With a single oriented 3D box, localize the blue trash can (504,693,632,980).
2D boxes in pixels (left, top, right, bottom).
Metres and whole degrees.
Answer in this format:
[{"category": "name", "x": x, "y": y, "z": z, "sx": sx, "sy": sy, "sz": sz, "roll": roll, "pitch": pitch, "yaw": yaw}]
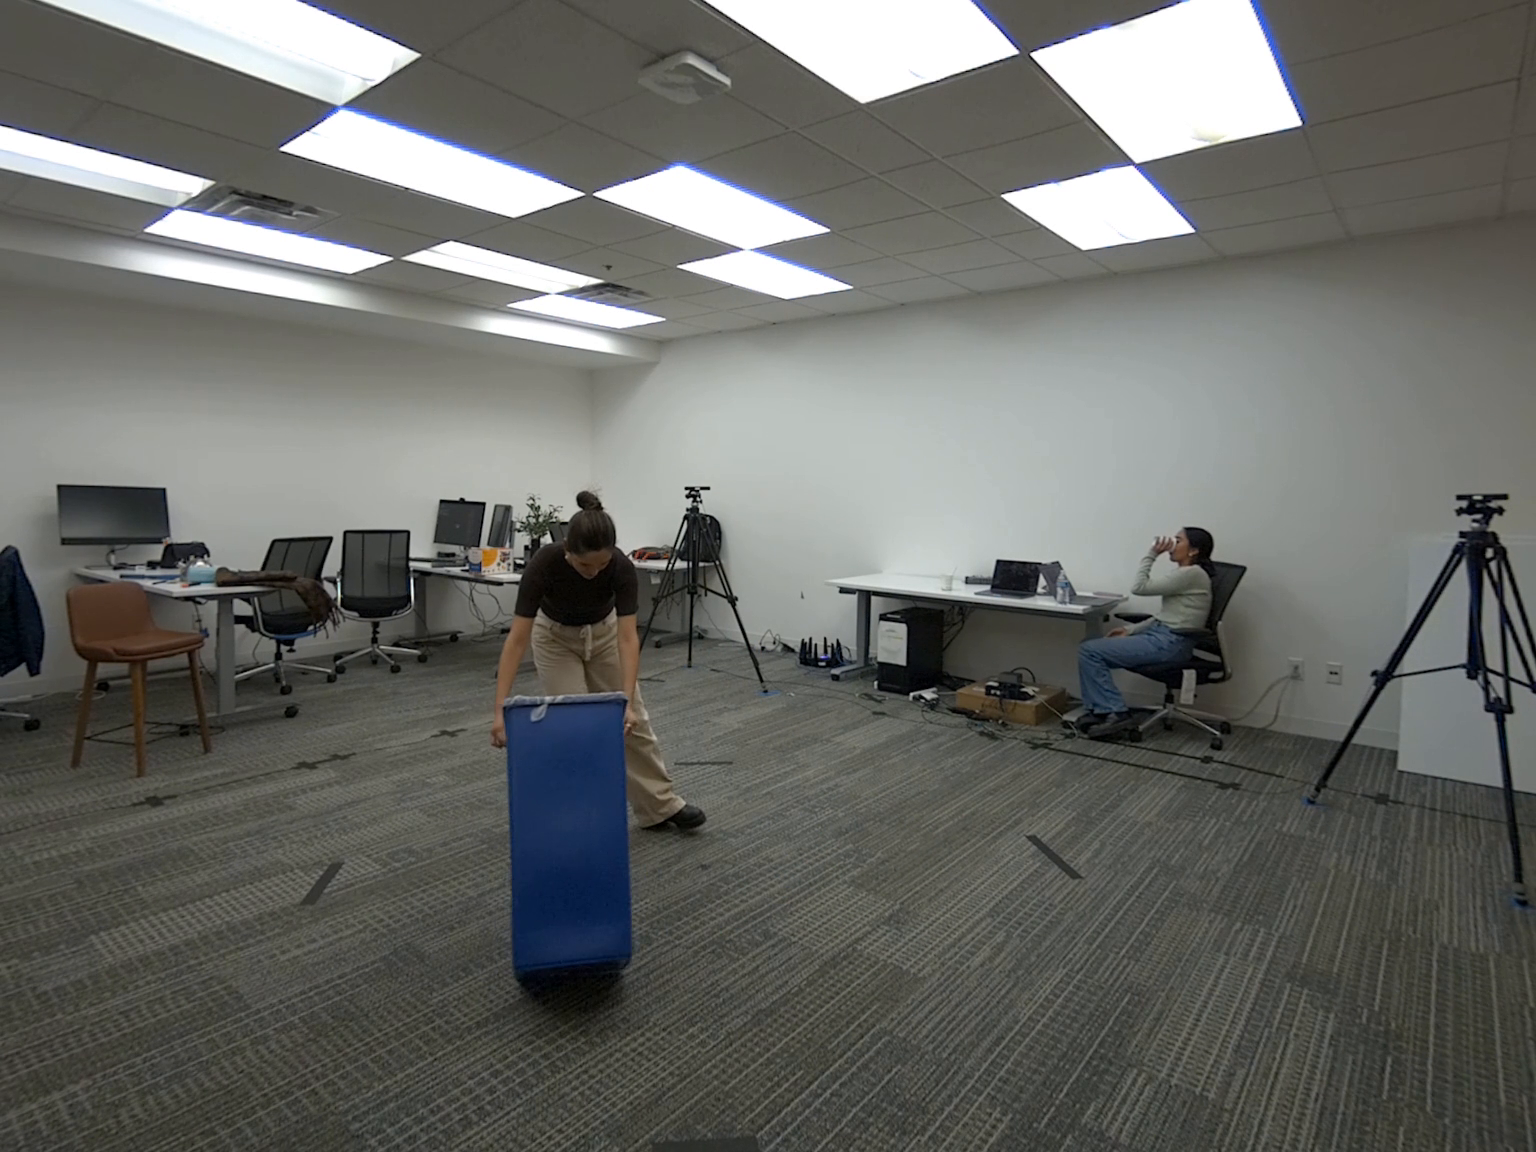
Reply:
[{"category": "blue trash can", "x": -0.586, "y": 0.751, "z": 2.485, "sx": 0.373, "sy": 0.734, "sz": 0.368, "roll": -1, "pitch": -31, "yaw": -13}]
